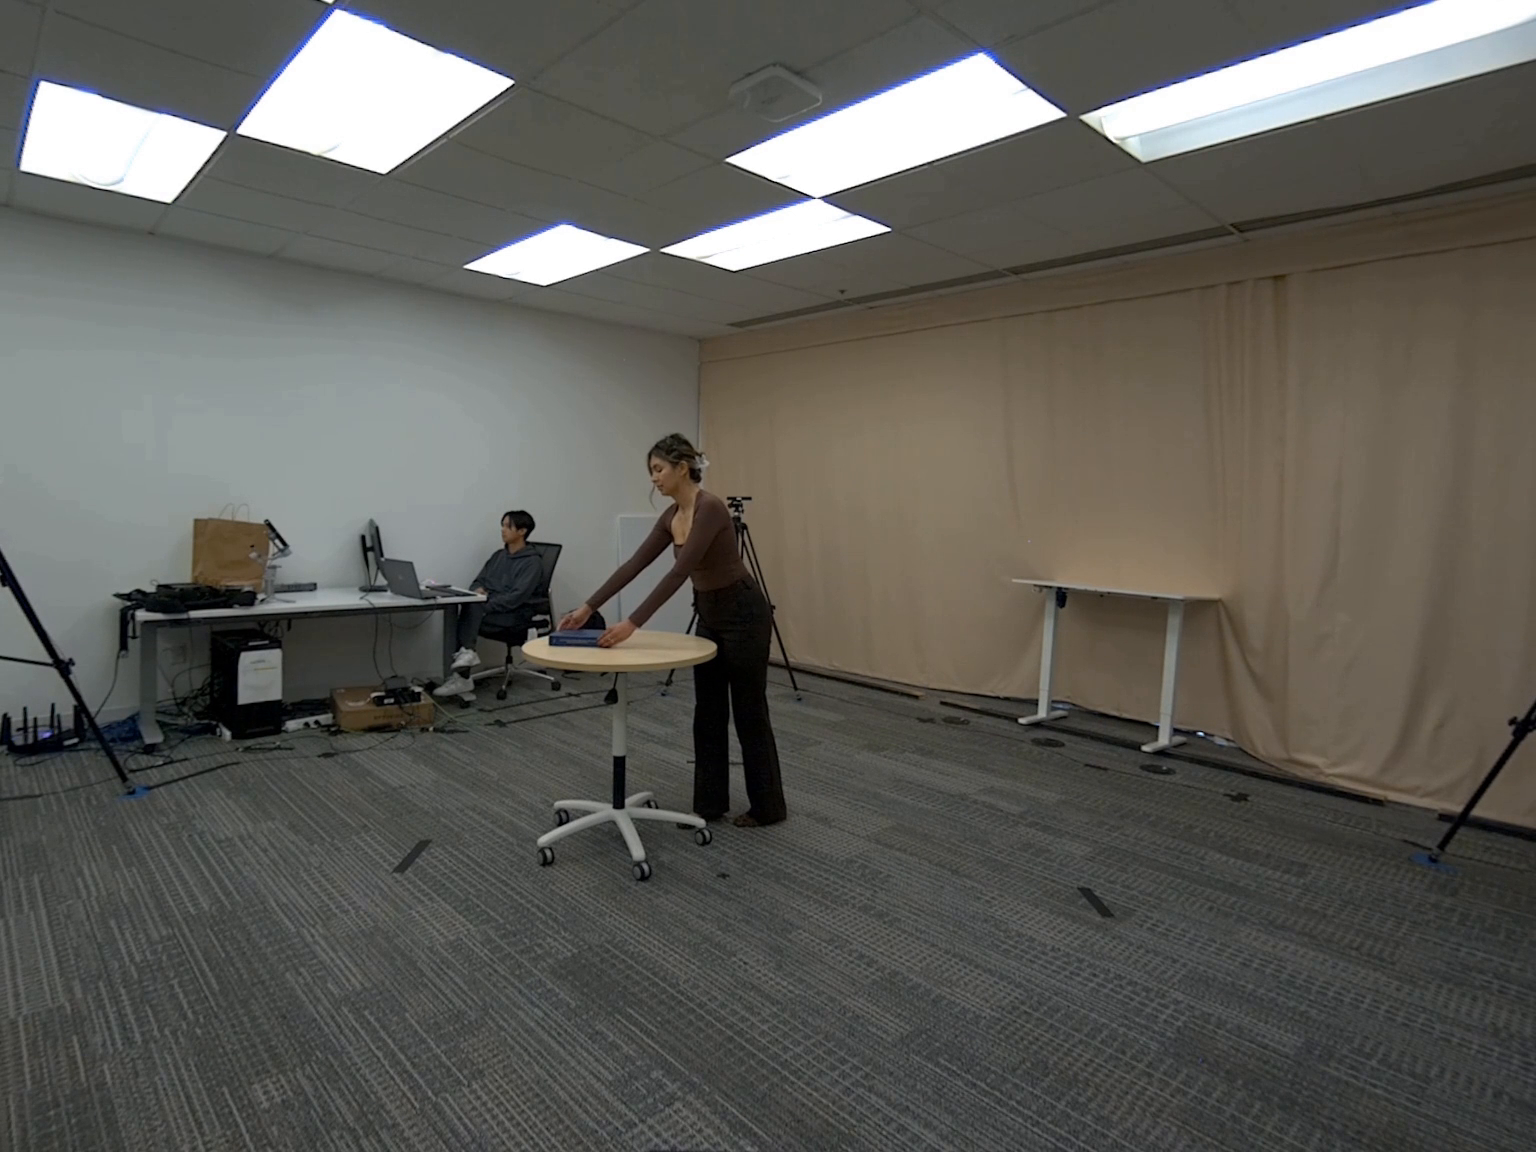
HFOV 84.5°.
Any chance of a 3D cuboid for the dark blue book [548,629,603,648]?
[{"bbox_3d":[-0.754,0.252,3.370,0.246,0.045,0.163,2,5,3],"label":"dark blue book"}]
